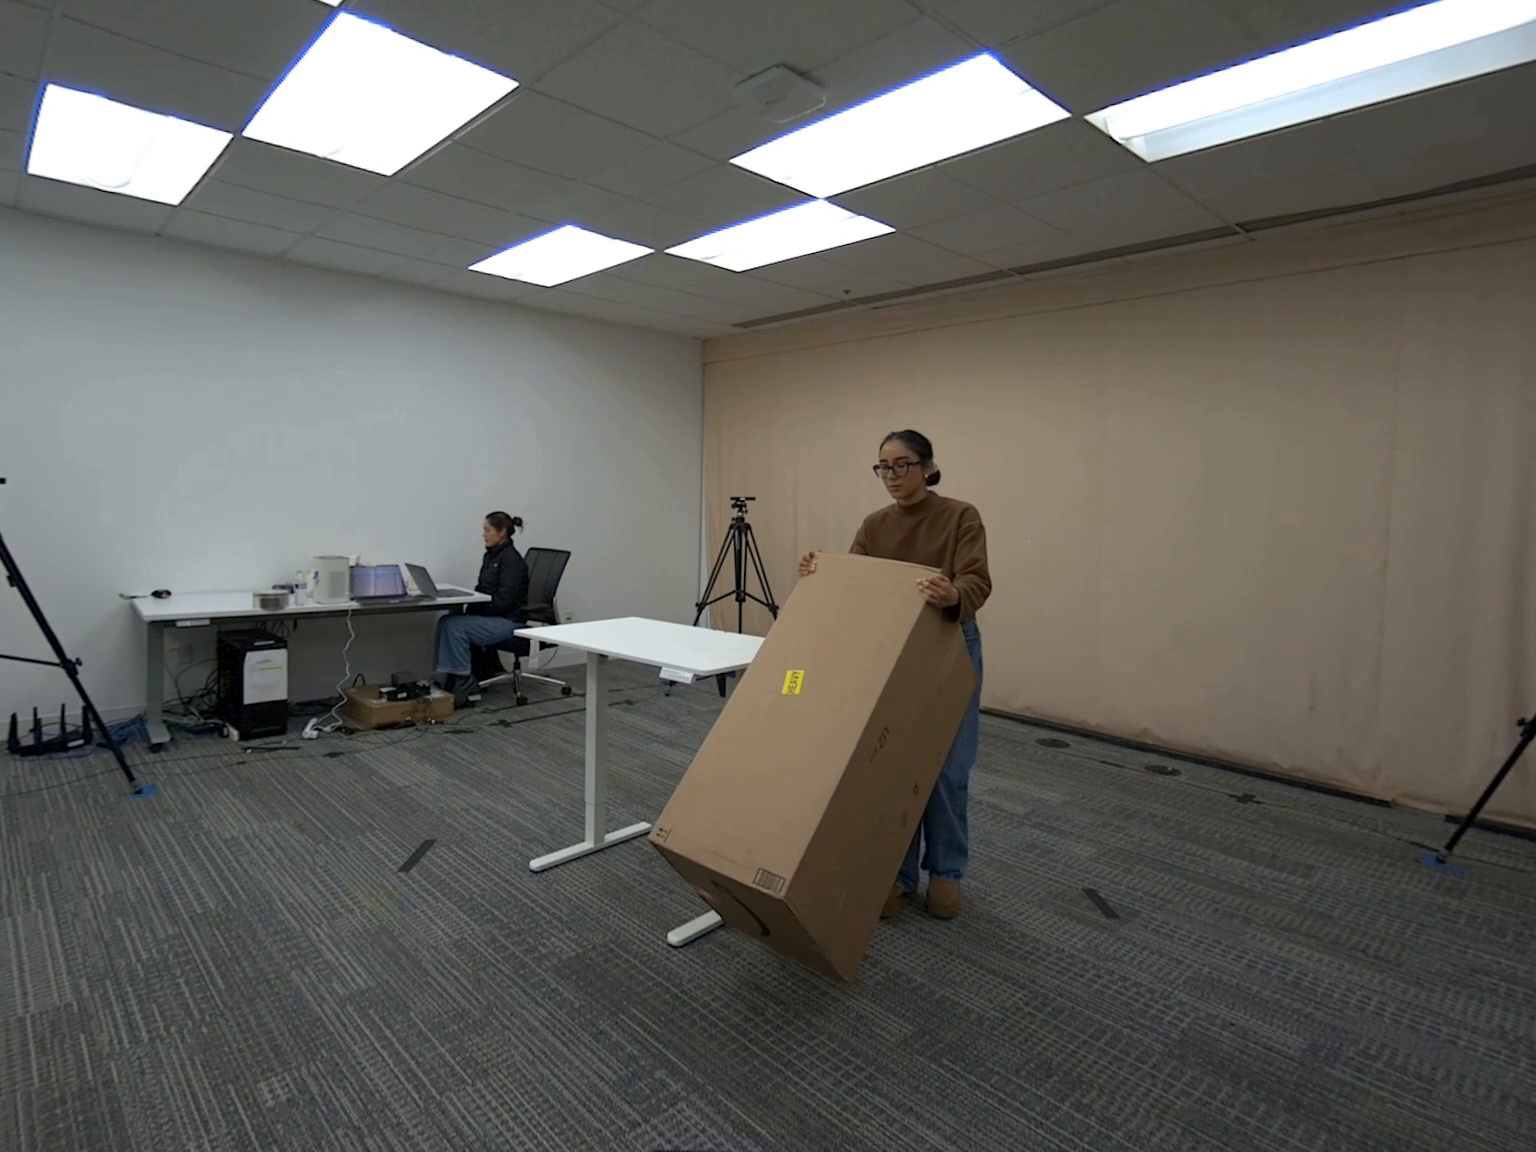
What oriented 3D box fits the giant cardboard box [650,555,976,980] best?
[{"bbox_3d":[0.186,0.528,2.467,0.437,1.031,0.560,9,-36,35],"label":"giant cardboard box"}]
